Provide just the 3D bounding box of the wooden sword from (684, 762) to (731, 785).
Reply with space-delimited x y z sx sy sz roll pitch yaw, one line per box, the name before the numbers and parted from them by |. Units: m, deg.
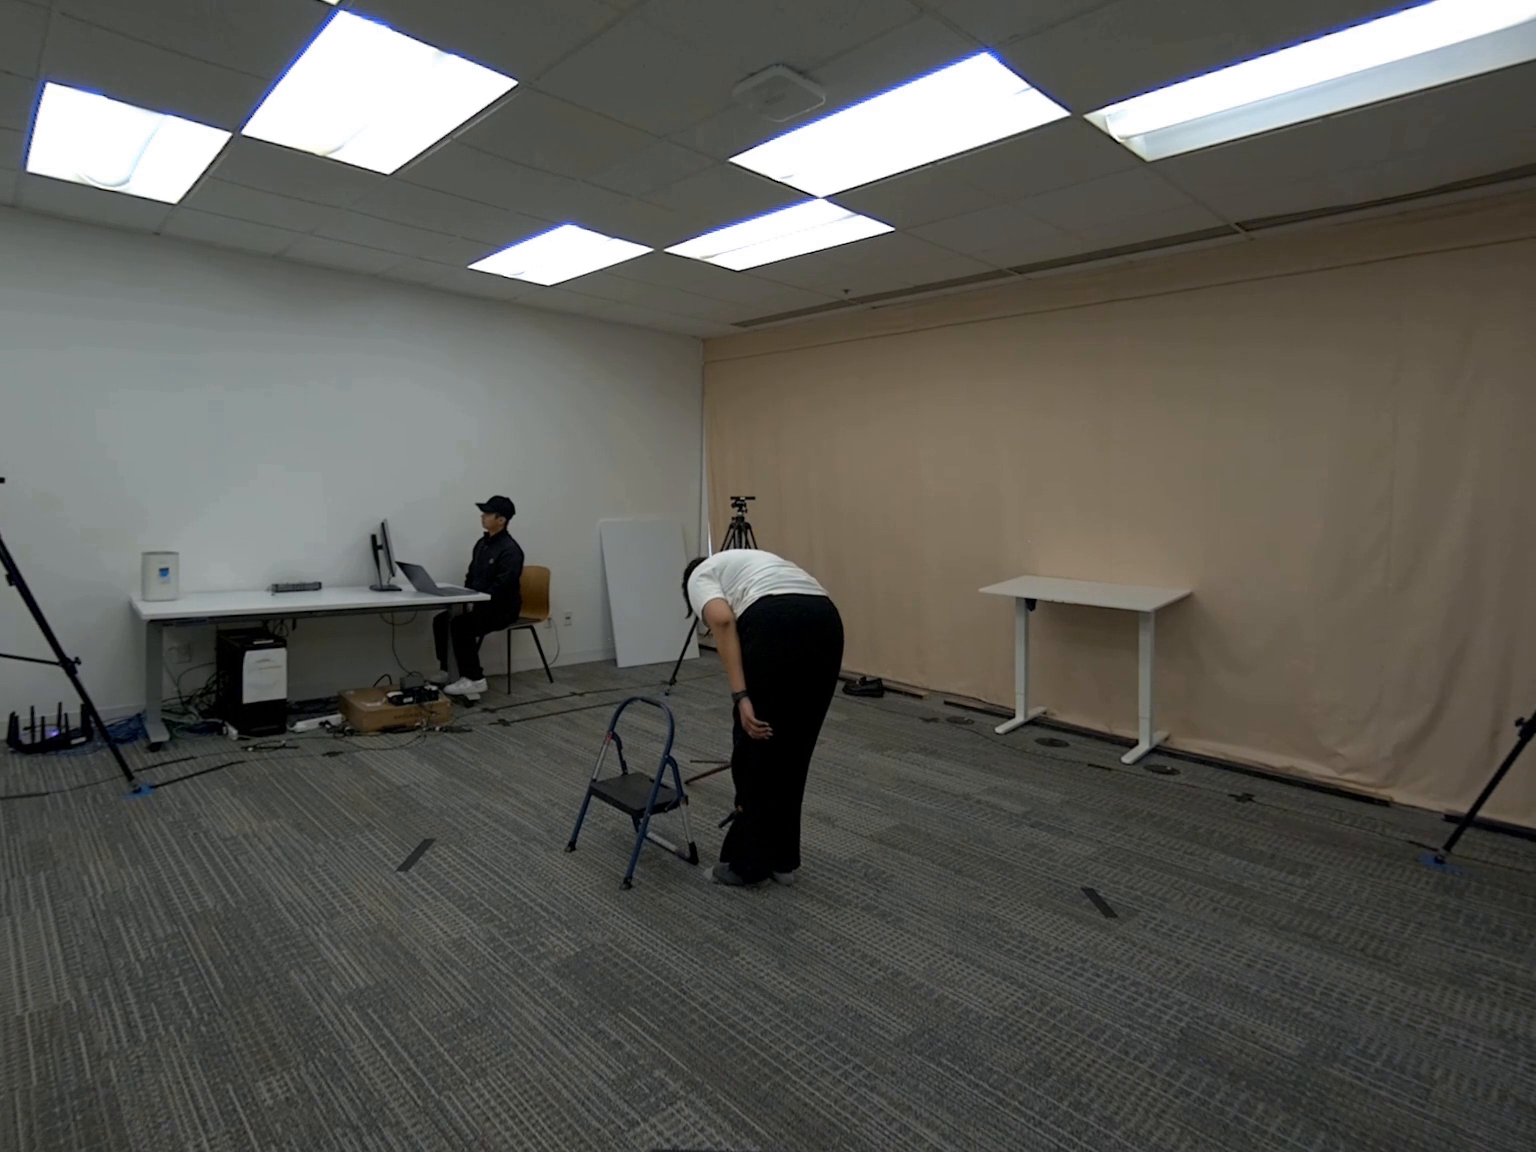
wooden sword | -0.135 0.815 3.709 0.050 0.024 1.032 14 -29 -32
